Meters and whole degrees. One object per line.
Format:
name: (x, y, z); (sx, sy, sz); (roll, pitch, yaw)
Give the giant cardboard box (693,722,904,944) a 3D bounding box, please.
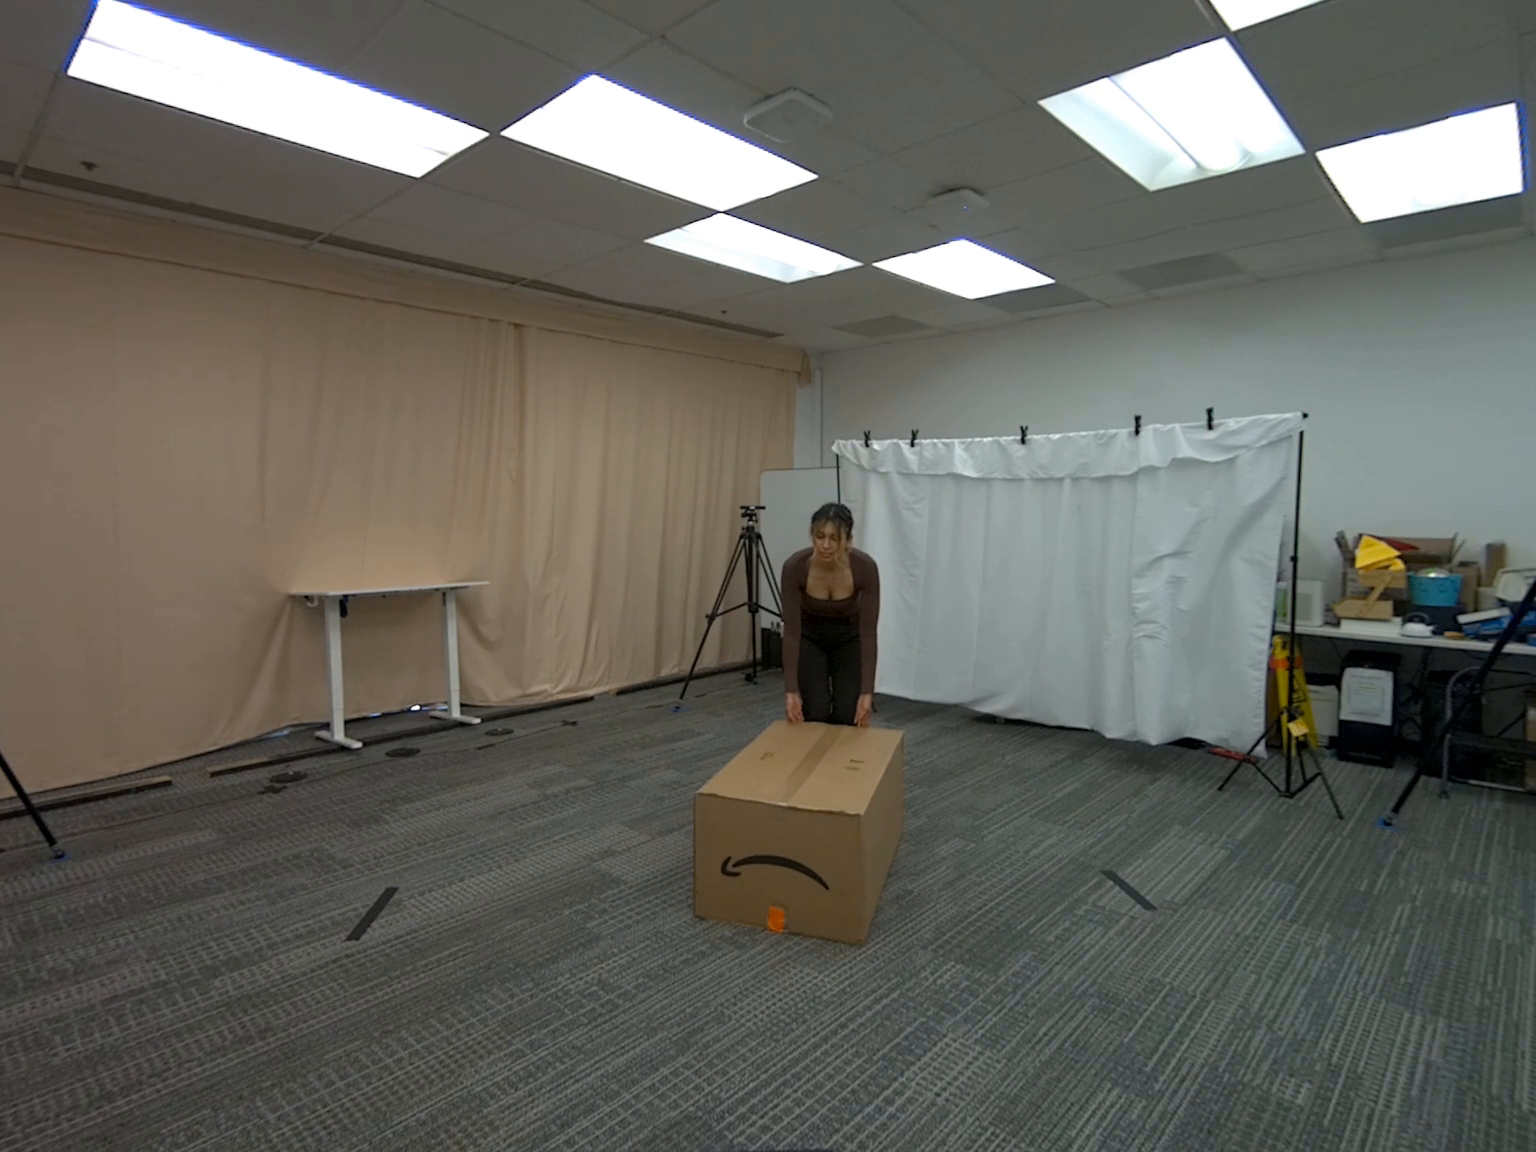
giant cardboard box: (0.166, 0.911, 3.220); (0.595, 0.446, 1.009); (0, 4, 18)
